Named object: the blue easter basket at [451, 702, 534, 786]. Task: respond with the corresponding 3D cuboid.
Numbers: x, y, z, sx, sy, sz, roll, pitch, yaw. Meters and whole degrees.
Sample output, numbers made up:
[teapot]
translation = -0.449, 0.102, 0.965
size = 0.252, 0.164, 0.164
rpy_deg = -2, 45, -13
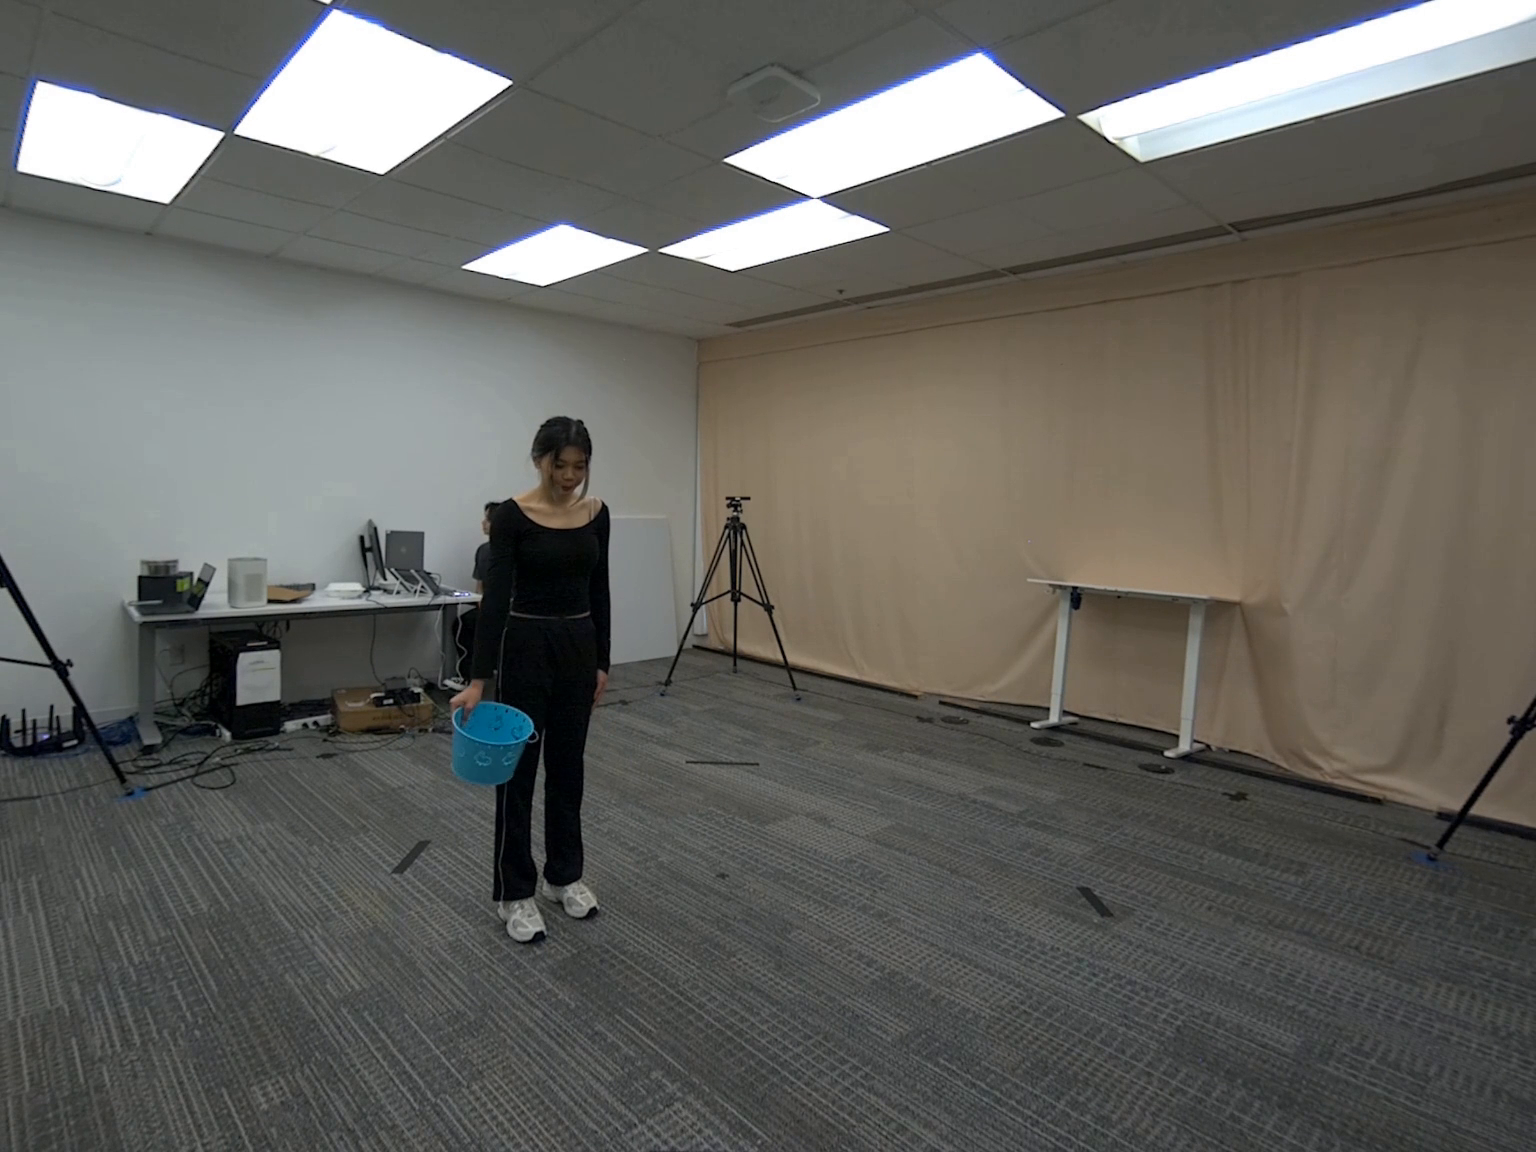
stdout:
[blue easter basket]
translation = -0.822, 0.496, 2.430
size = 0.242, 0.155, 0.246
rpy_deg = 15, 14, -5
